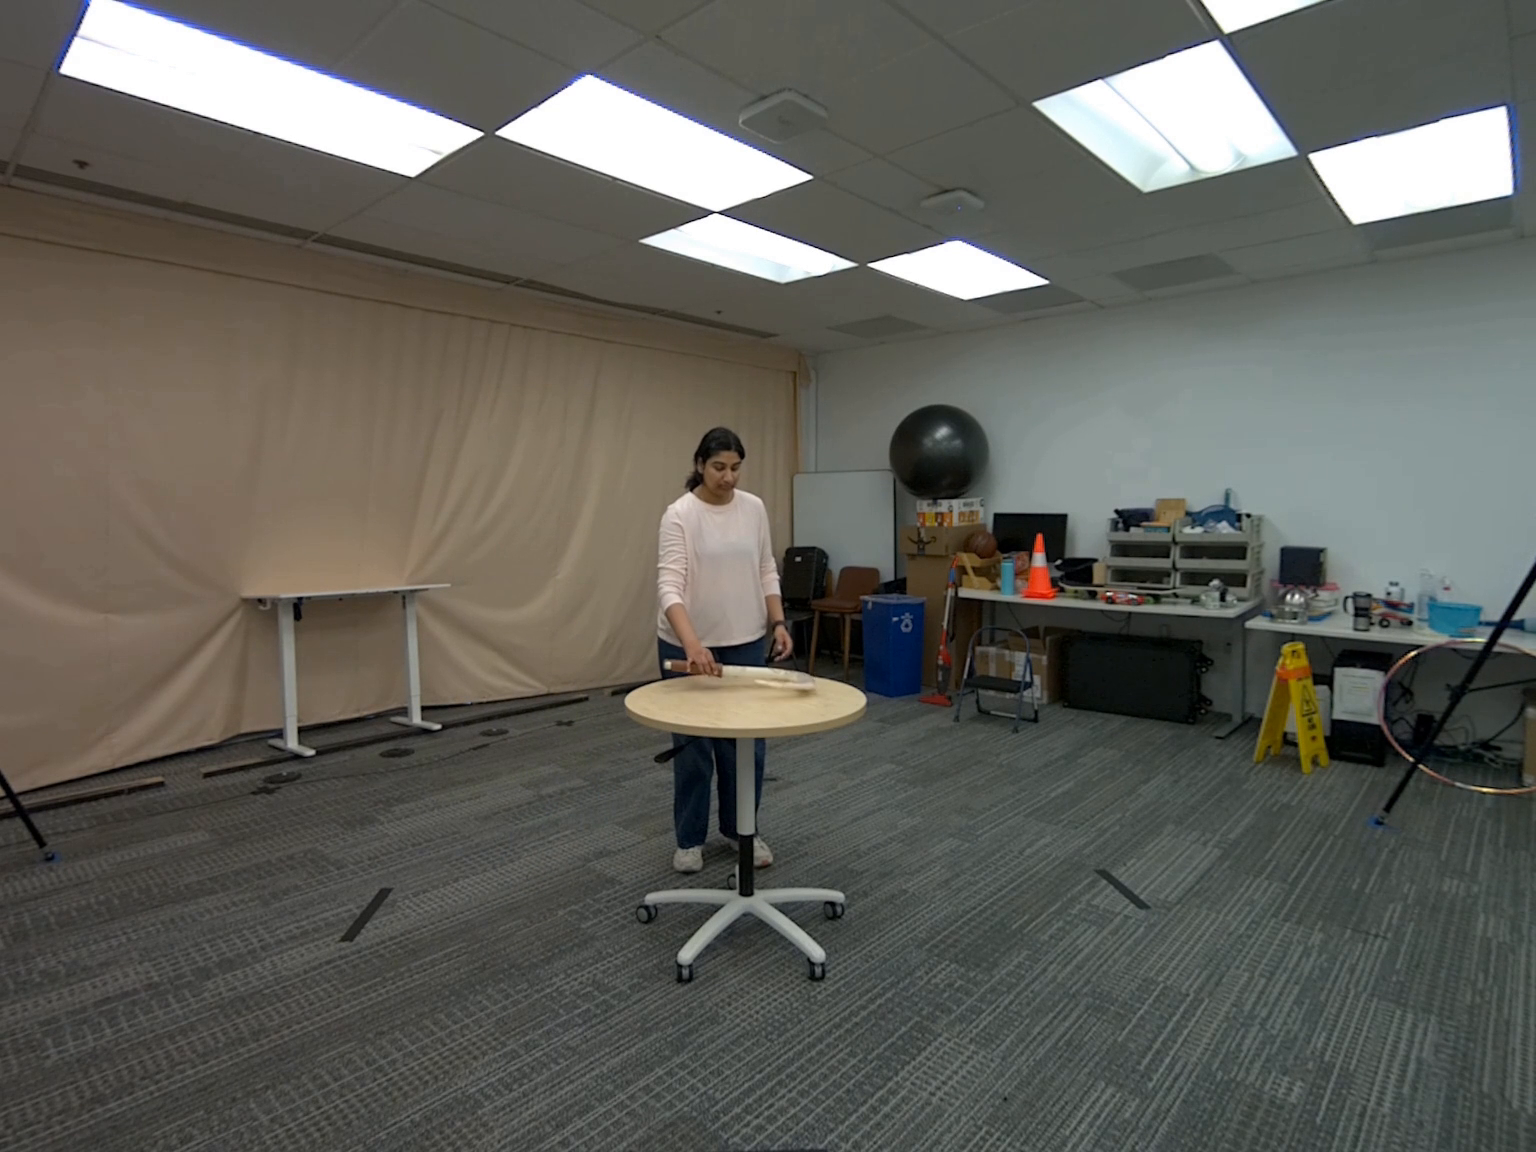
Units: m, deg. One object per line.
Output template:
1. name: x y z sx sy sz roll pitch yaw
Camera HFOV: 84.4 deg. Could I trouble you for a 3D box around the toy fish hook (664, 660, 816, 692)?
1. toy fish hook: -0.099 0.312 2.736 0.506 0.048 0.225 6 0 -1
